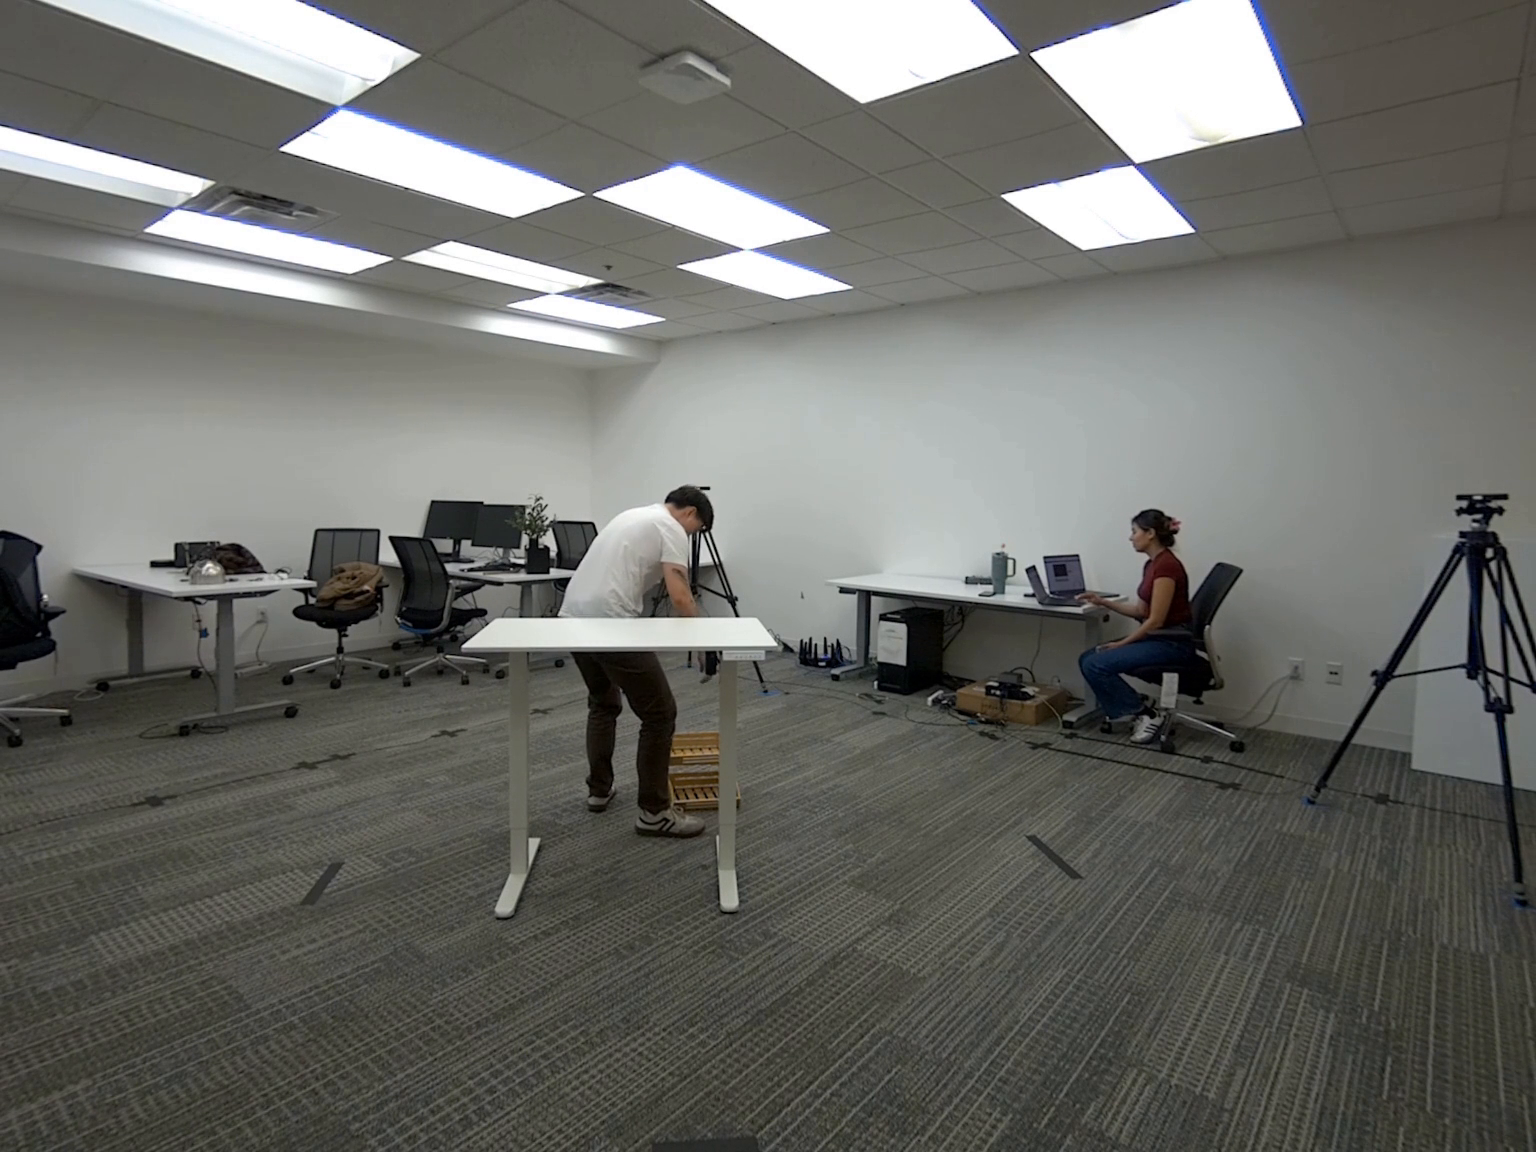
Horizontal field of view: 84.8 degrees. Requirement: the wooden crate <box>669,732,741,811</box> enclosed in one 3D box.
[{"bbox_3d":[-0.315,0.873,3.809,0.320,0.273,0.306,0,0,-13],"label":"wooden crate"}]
